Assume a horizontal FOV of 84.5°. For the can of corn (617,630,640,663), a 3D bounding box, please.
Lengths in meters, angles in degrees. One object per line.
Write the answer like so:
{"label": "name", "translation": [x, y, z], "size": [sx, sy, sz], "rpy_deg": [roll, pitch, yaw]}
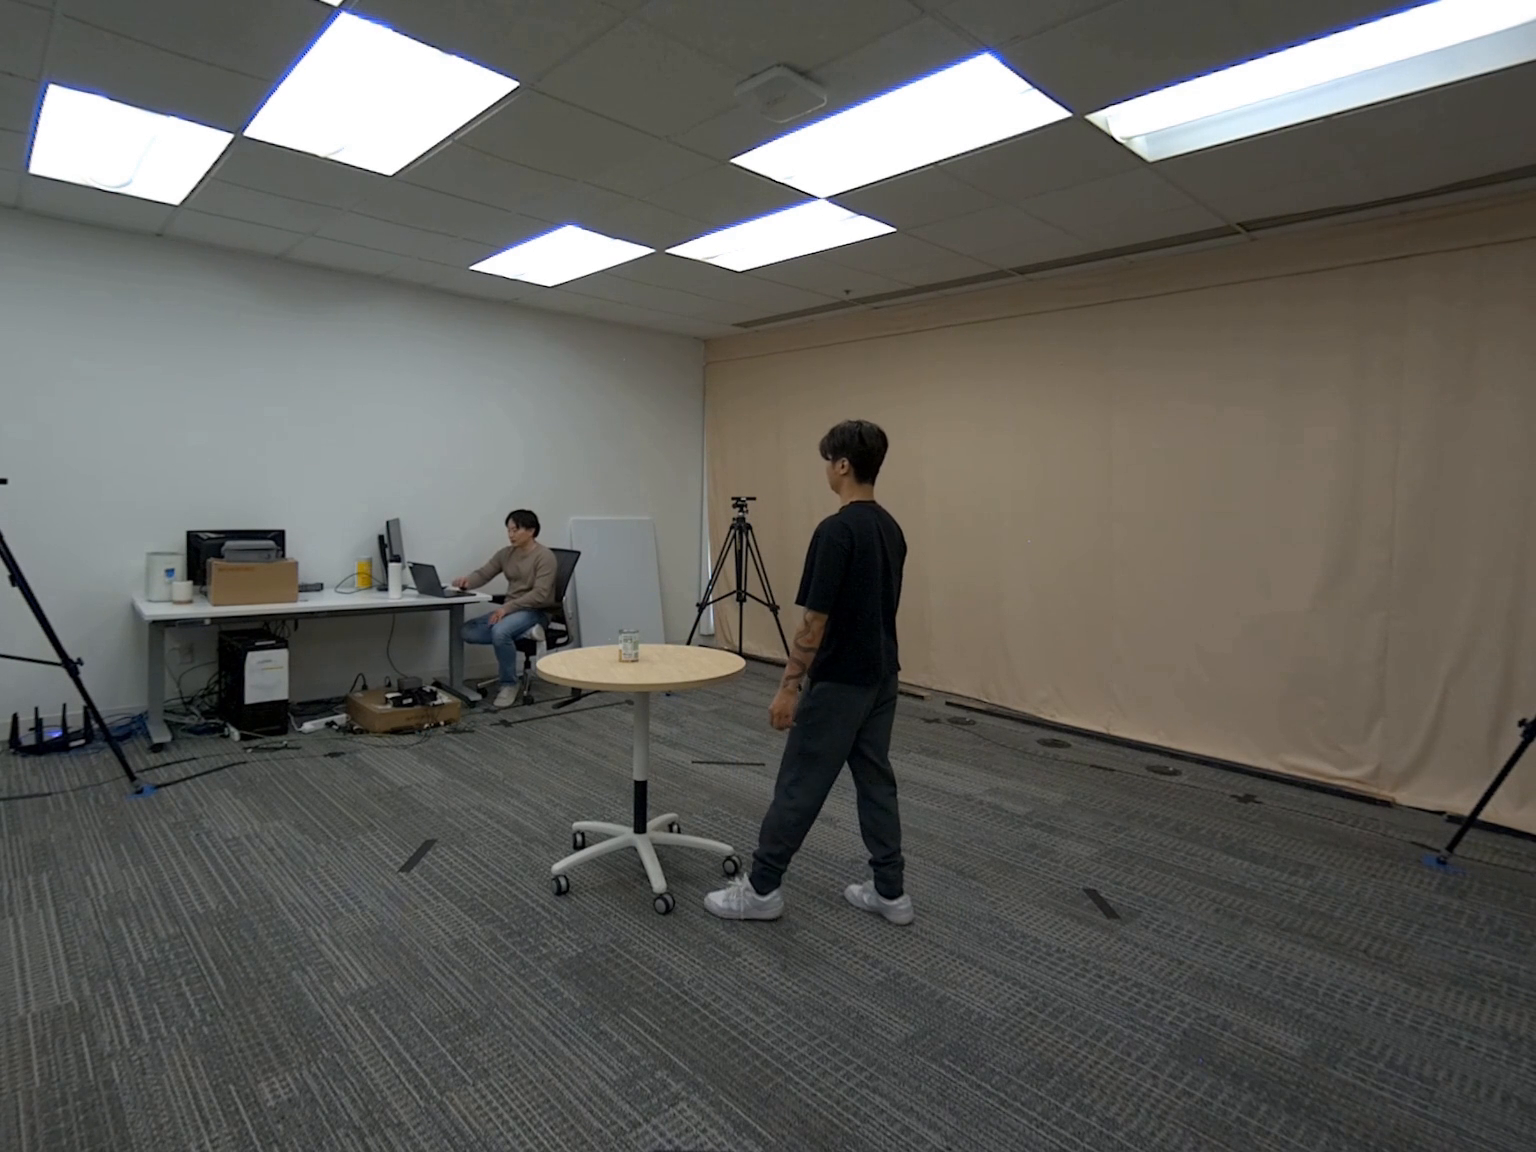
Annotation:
{"label": "can of corn", "translation": [-0.521, 0.258, 3.120], "size": [0.074, 0.111, 0.074], "rpy_deg": [0, 0, -1]}
